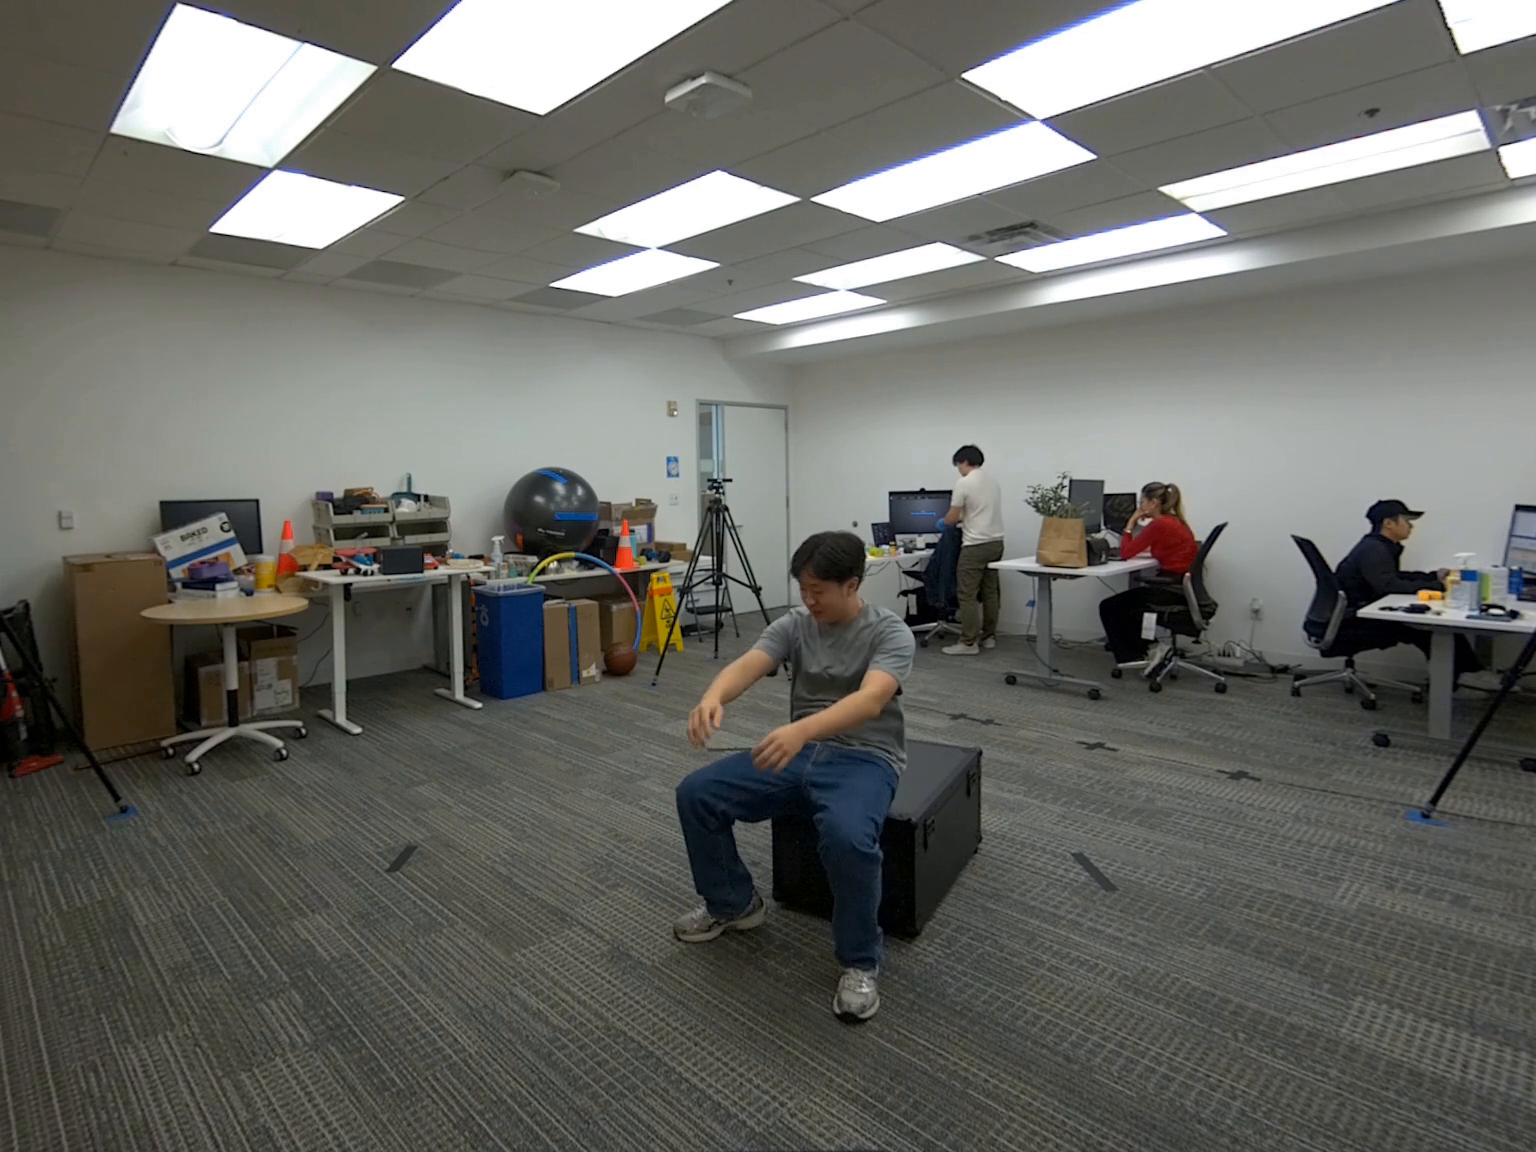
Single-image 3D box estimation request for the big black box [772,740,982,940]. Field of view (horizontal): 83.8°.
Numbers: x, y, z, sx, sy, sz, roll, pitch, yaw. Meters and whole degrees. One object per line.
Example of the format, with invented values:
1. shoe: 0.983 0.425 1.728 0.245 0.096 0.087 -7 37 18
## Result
1. big black box: 0.427 0.861 3.012 0.534 0.394 0.844 1 7 29
